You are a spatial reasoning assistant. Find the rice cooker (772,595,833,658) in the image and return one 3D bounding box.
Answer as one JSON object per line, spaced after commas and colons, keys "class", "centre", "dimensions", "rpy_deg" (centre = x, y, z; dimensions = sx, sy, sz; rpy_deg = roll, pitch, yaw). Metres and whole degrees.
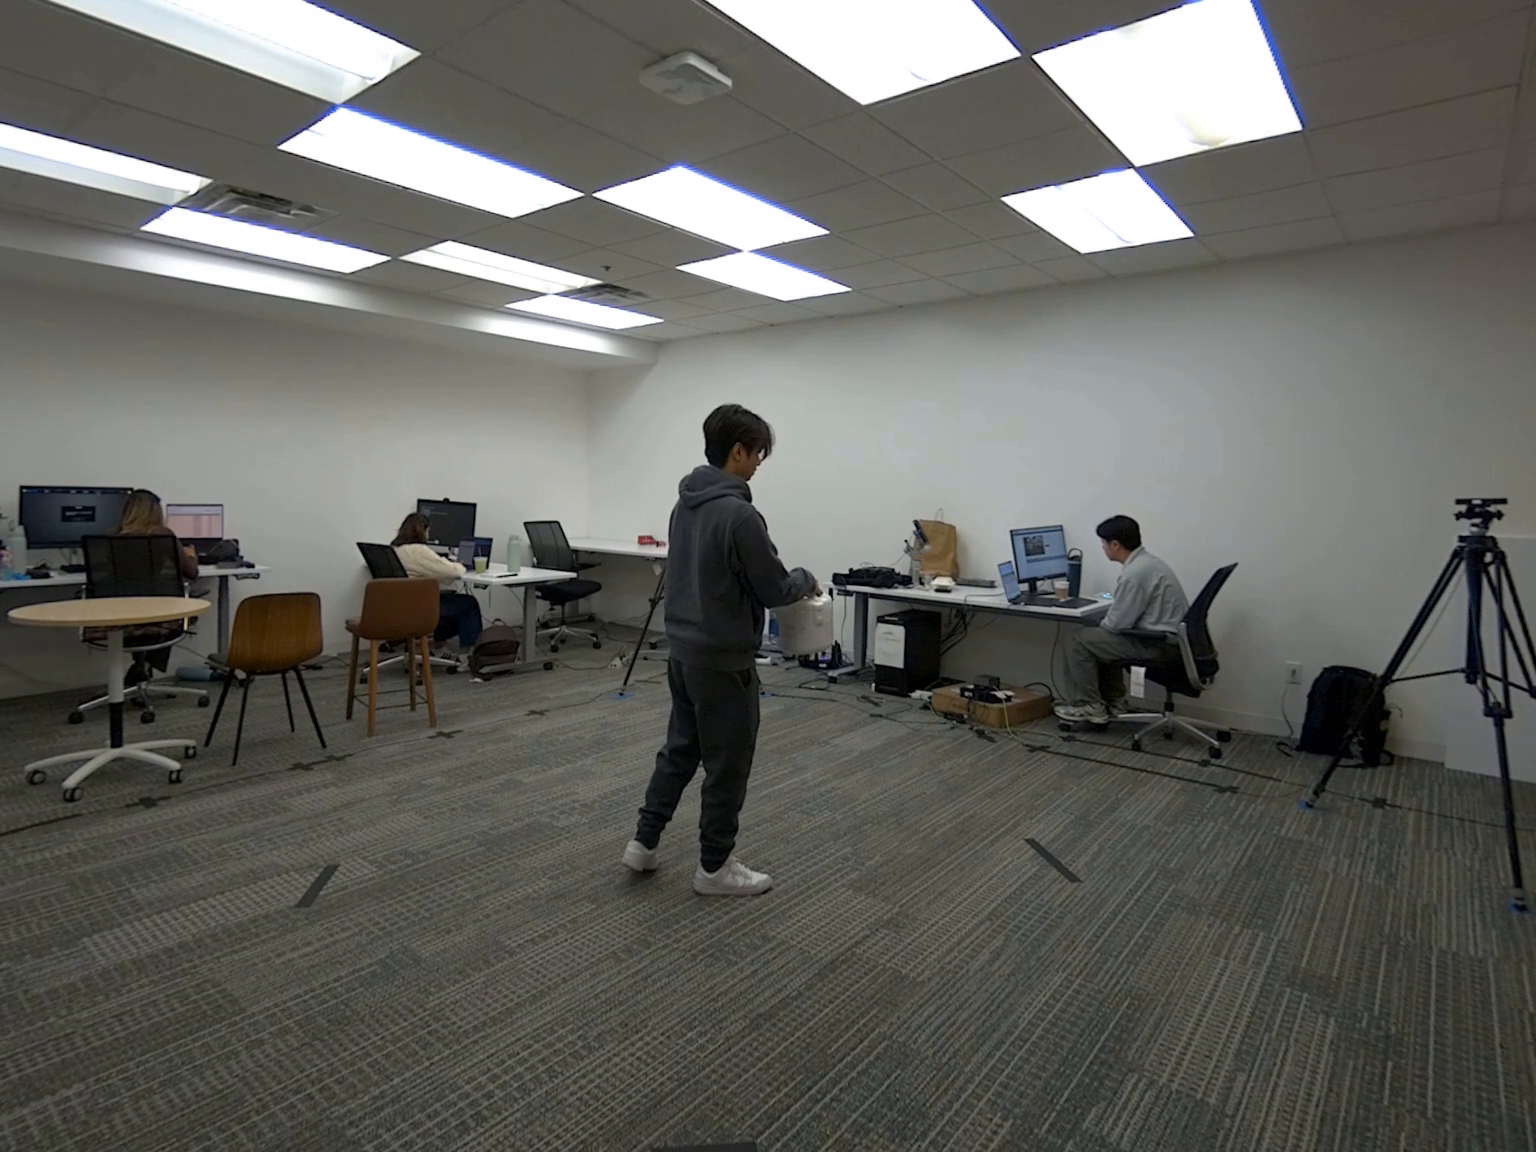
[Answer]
{"class": "rice cooker", "centre": [0.119, 0.148, 3.112], "dimensions": [0.213, 0.230, 0.227], "rpy_deg": [-8, 11, -26]}
